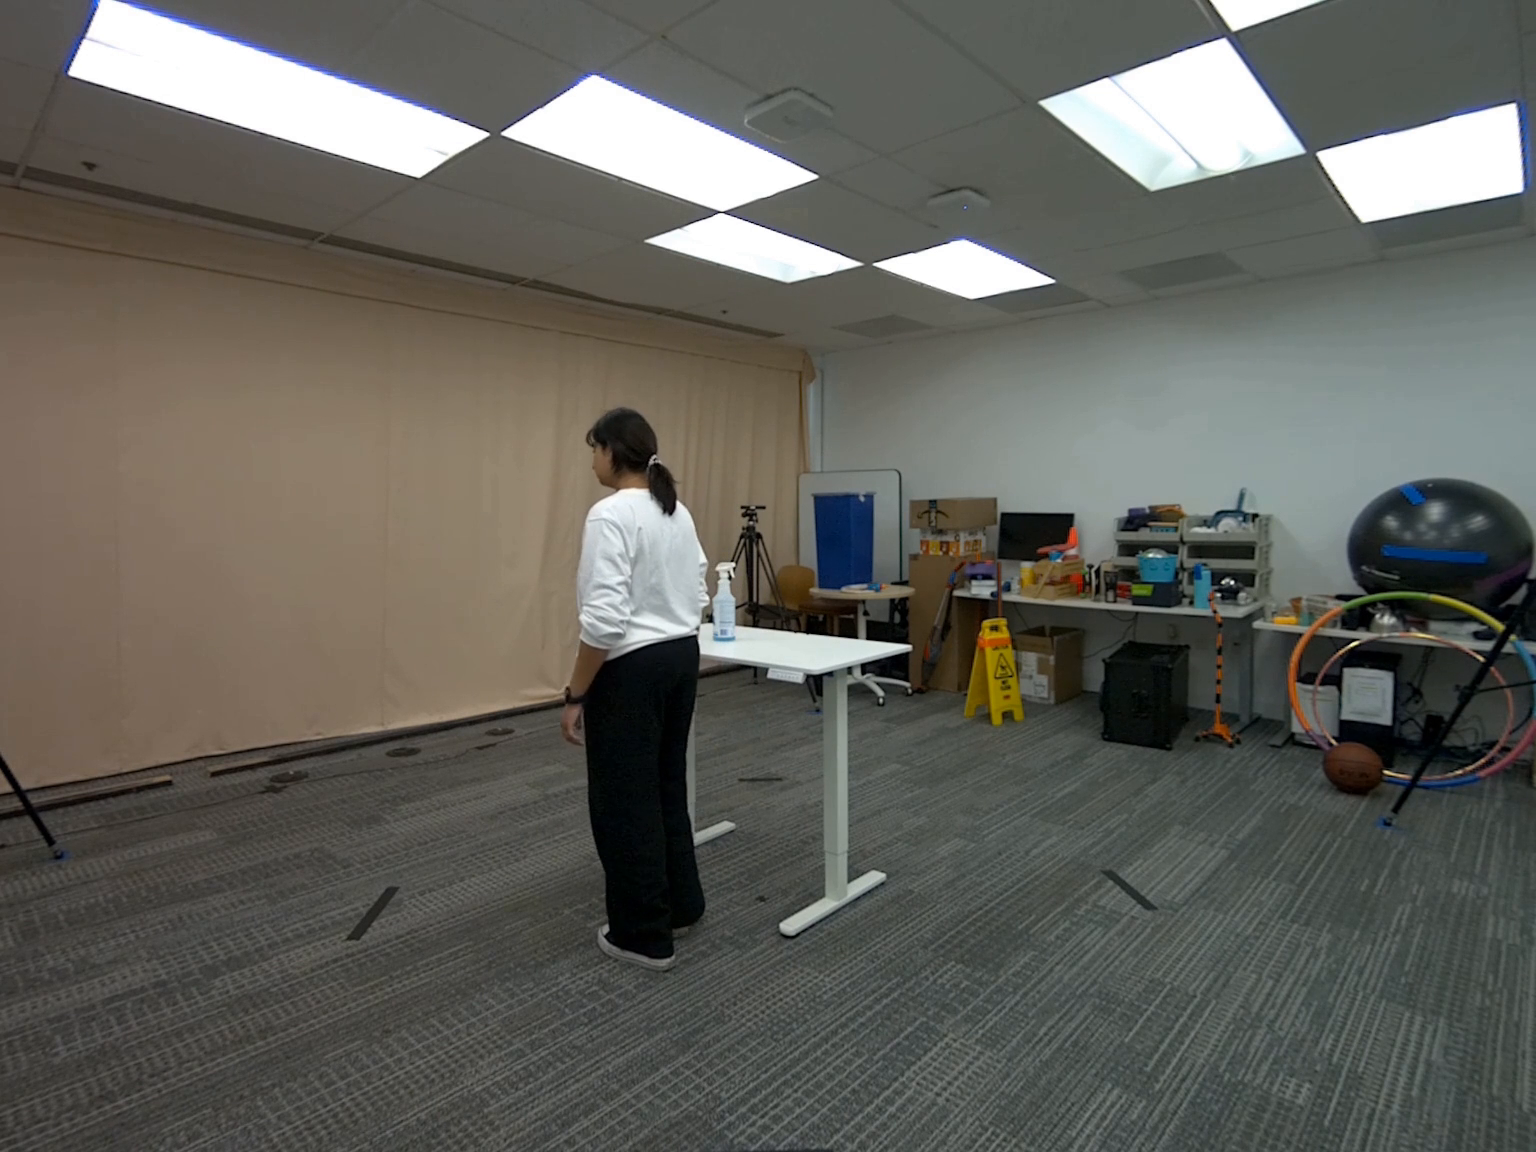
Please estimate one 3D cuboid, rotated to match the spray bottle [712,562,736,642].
[{"bbox_3d":[-0.161,0.099,3.206,0.085,0.296,0.092,-2,5,-26],"label":"spray bottle"}]
